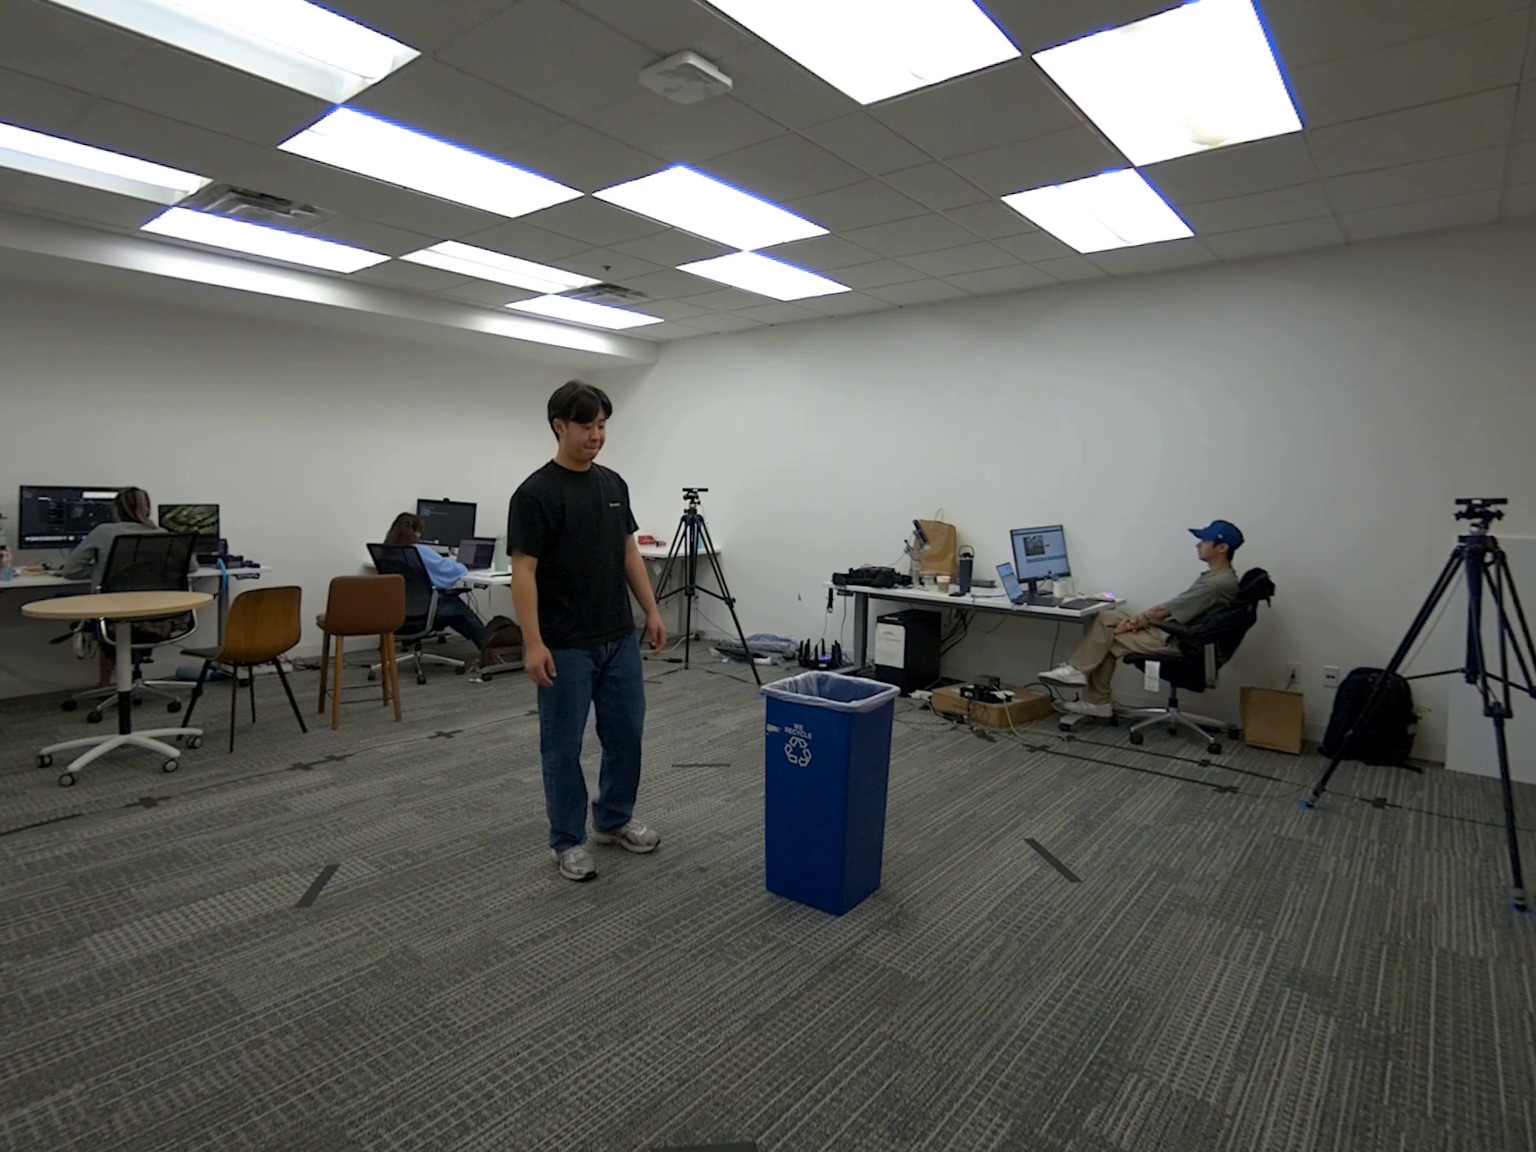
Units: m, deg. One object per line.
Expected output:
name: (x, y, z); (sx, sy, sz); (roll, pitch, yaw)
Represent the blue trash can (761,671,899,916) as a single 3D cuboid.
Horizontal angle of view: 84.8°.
blue trash can: (0.208, 0.734, 2.966); (0.386, 0.711, 0.367); (3, 4, 34)
